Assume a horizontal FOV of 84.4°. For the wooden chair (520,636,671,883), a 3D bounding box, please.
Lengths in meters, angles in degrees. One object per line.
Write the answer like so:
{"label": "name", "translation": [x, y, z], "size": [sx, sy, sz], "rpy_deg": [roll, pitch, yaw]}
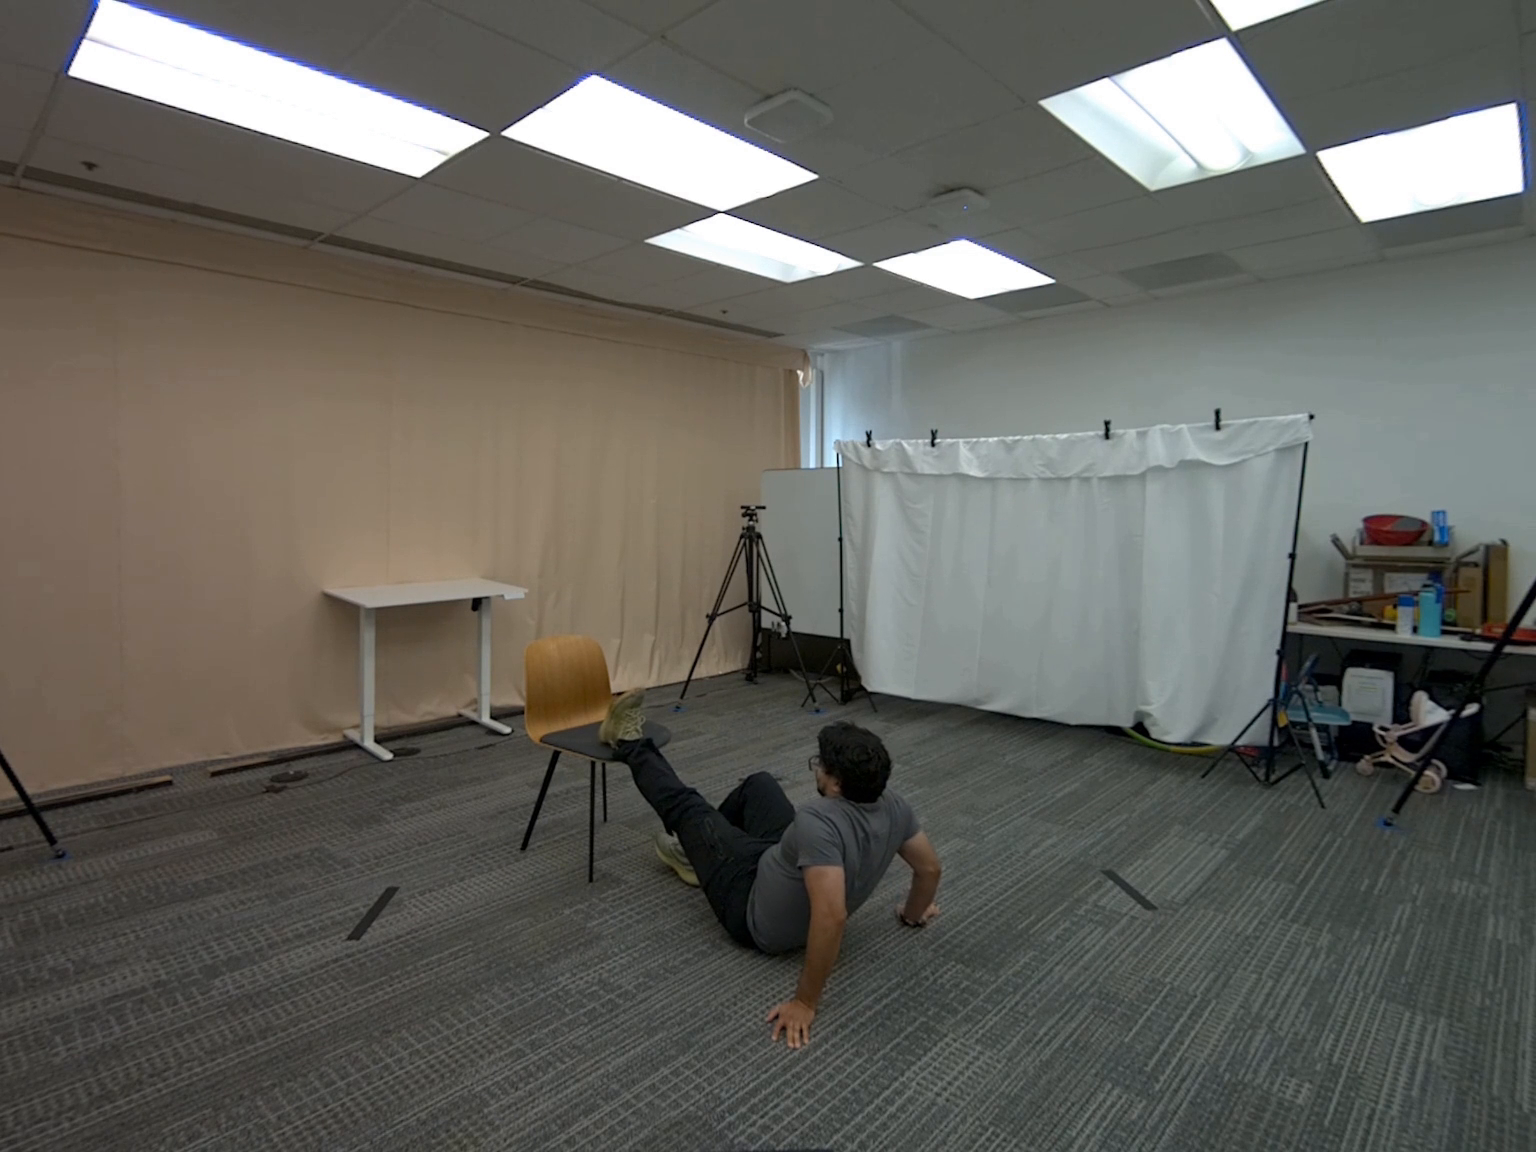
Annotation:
{"label": "wooden chair", "translation": [-0.688, 0.689, 3.402], "size": [0.539, 0.877, 0.463], "rpy_deg": [-3, 0, 41]}
